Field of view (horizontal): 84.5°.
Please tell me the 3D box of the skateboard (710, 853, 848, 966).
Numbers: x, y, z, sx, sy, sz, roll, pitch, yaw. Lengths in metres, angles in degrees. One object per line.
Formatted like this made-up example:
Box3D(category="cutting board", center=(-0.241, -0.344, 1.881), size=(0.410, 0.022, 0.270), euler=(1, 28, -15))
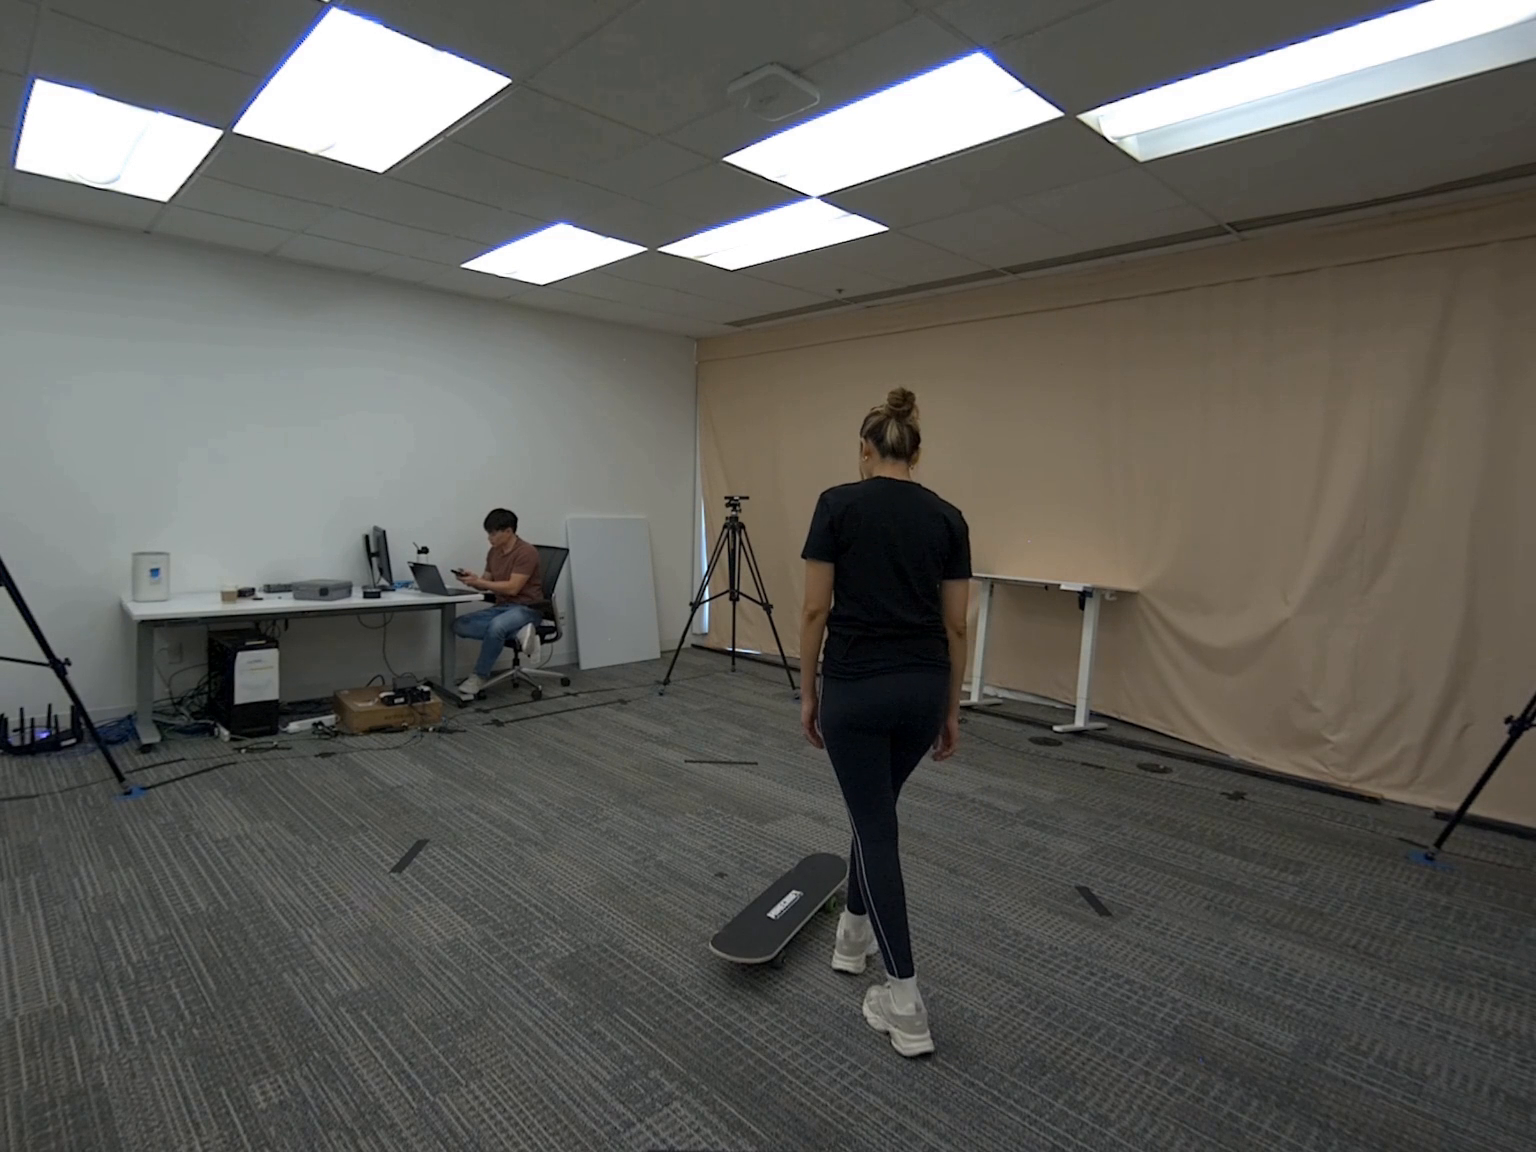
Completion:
Box3D(category="skateboard", center=(0.053, 1.087, 2.704), size=(0.197, 0.110, 0.772), euler=(5, 6, 26))
